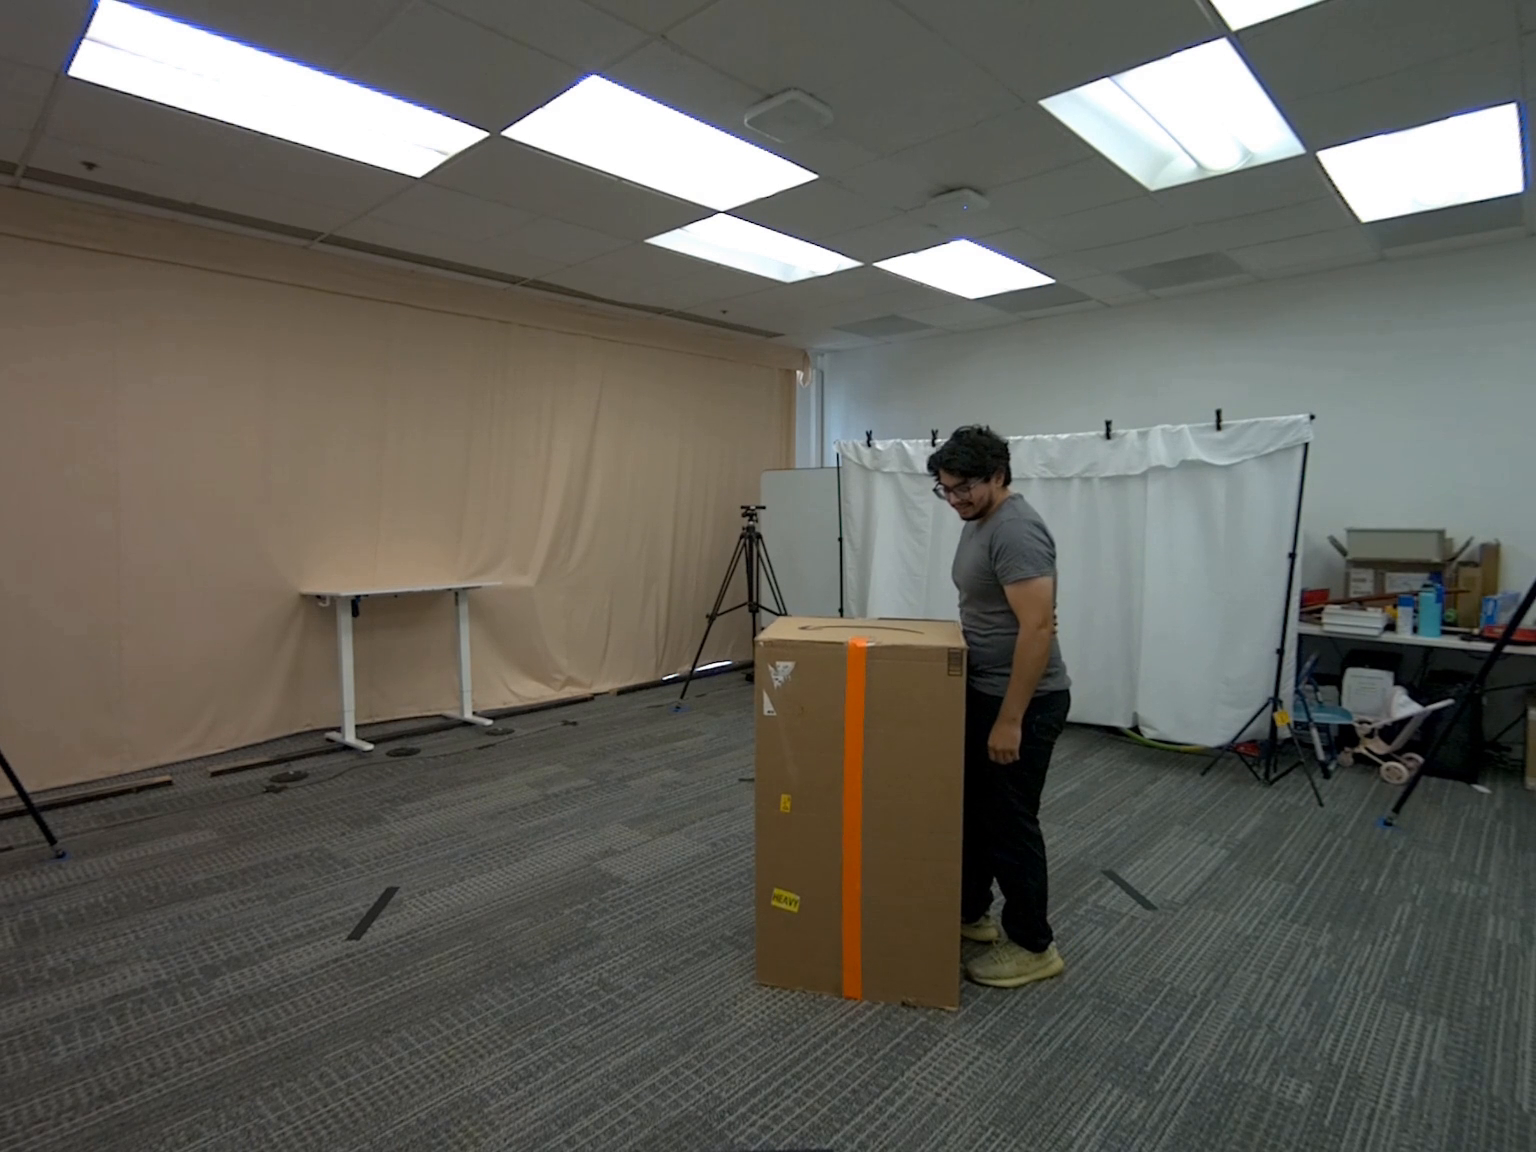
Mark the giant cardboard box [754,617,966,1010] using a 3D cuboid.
[{"bbox_3d":[0.278,0.673,2.550,0.592,1.025,0.442,0,3,12],"label":"giant cardboard box"}]
